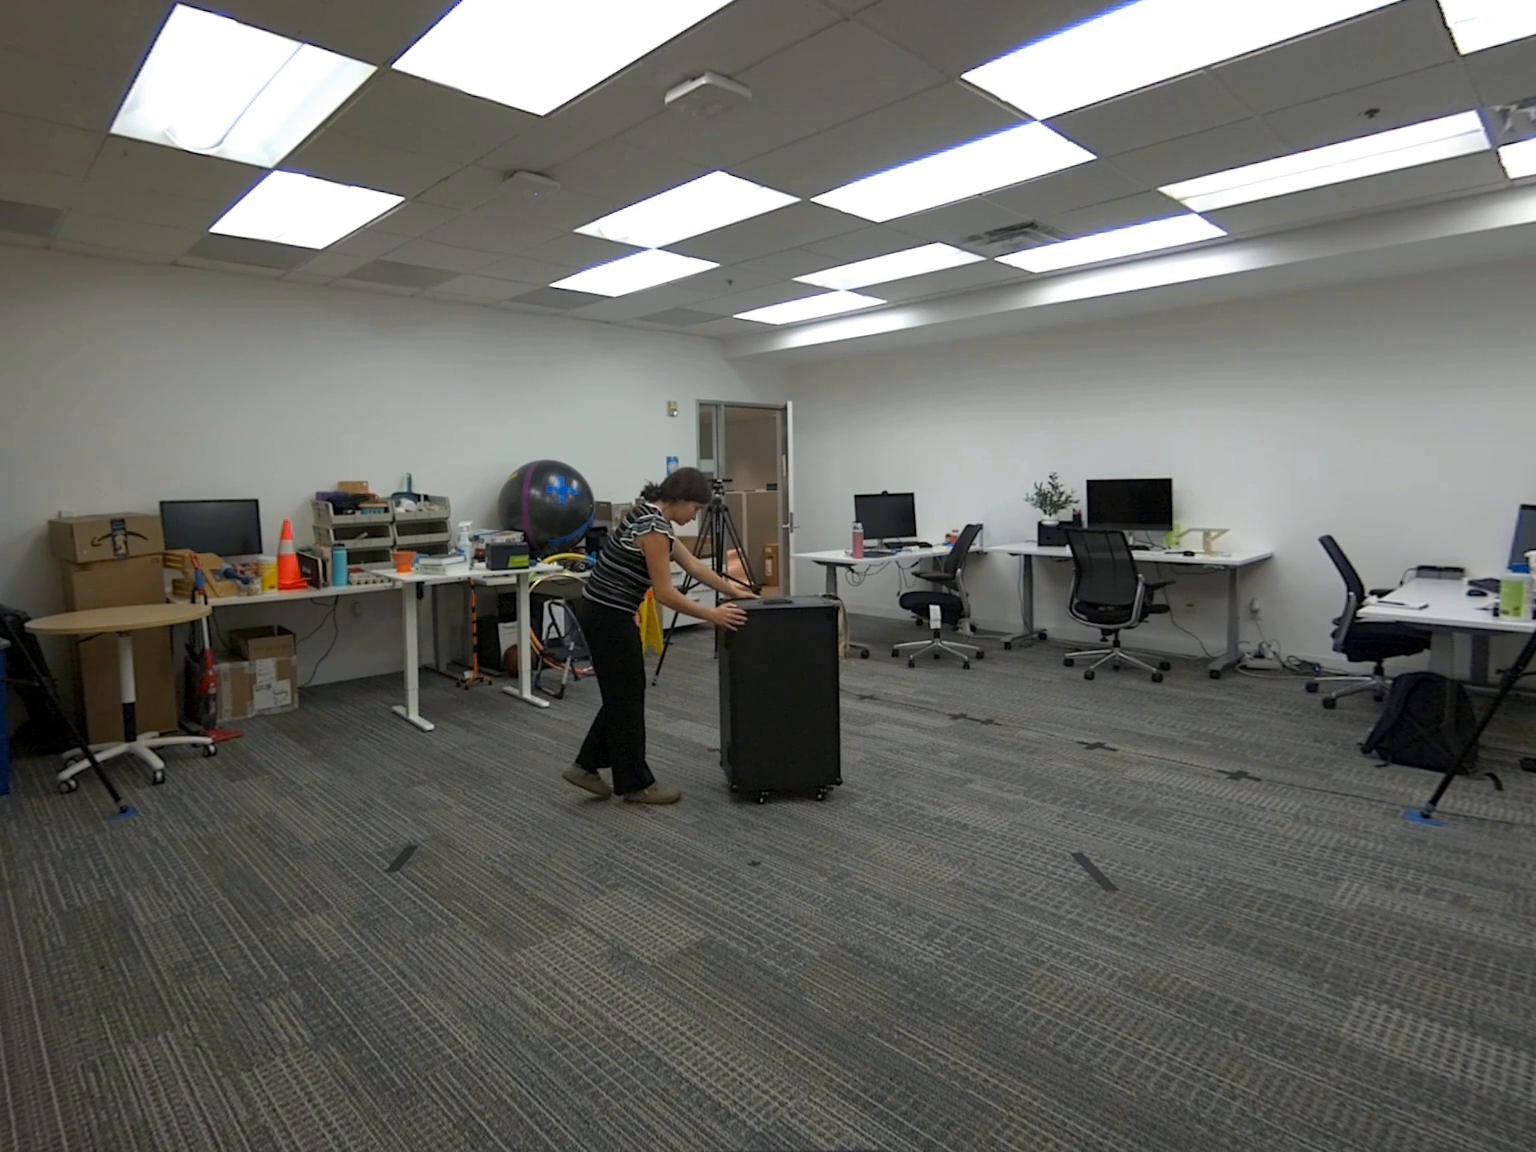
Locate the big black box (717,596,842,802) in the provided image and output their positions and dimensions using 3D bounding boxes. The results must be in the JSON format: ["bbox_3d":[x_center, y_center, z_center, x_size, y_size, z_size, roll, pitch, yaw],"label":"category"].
[{"bbox_3d":[0.037,0.540,3.814,0.518,0.859,0.400,-2,3,-7],"label":"big black box"}]
